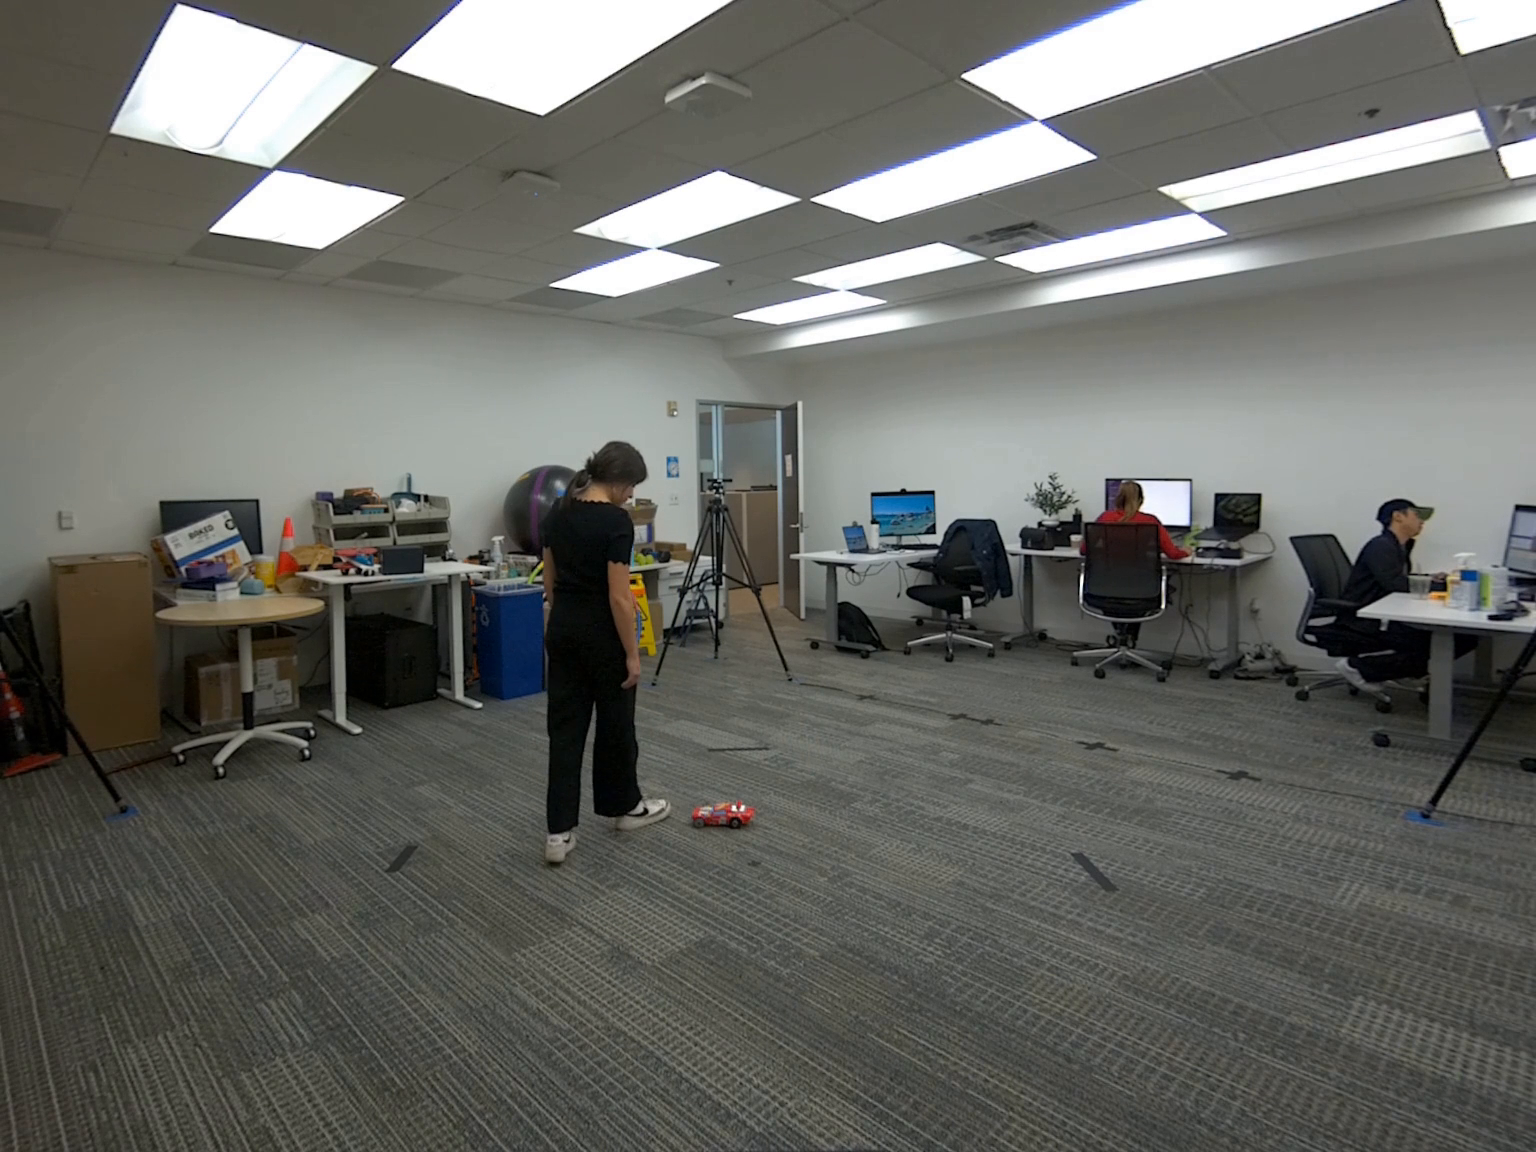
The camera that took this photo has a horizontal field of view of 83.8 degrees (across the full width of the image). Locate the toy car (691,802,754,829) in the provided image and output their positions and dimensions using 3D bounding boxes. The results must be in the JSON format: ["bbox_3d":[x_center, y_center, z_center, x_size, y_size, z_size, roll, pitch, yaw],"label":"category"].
[{"bbox_3d":[-0.179,0.974,3.471,0.256,0.083,0.130,-13,4,6],"label":"toy car"}]
